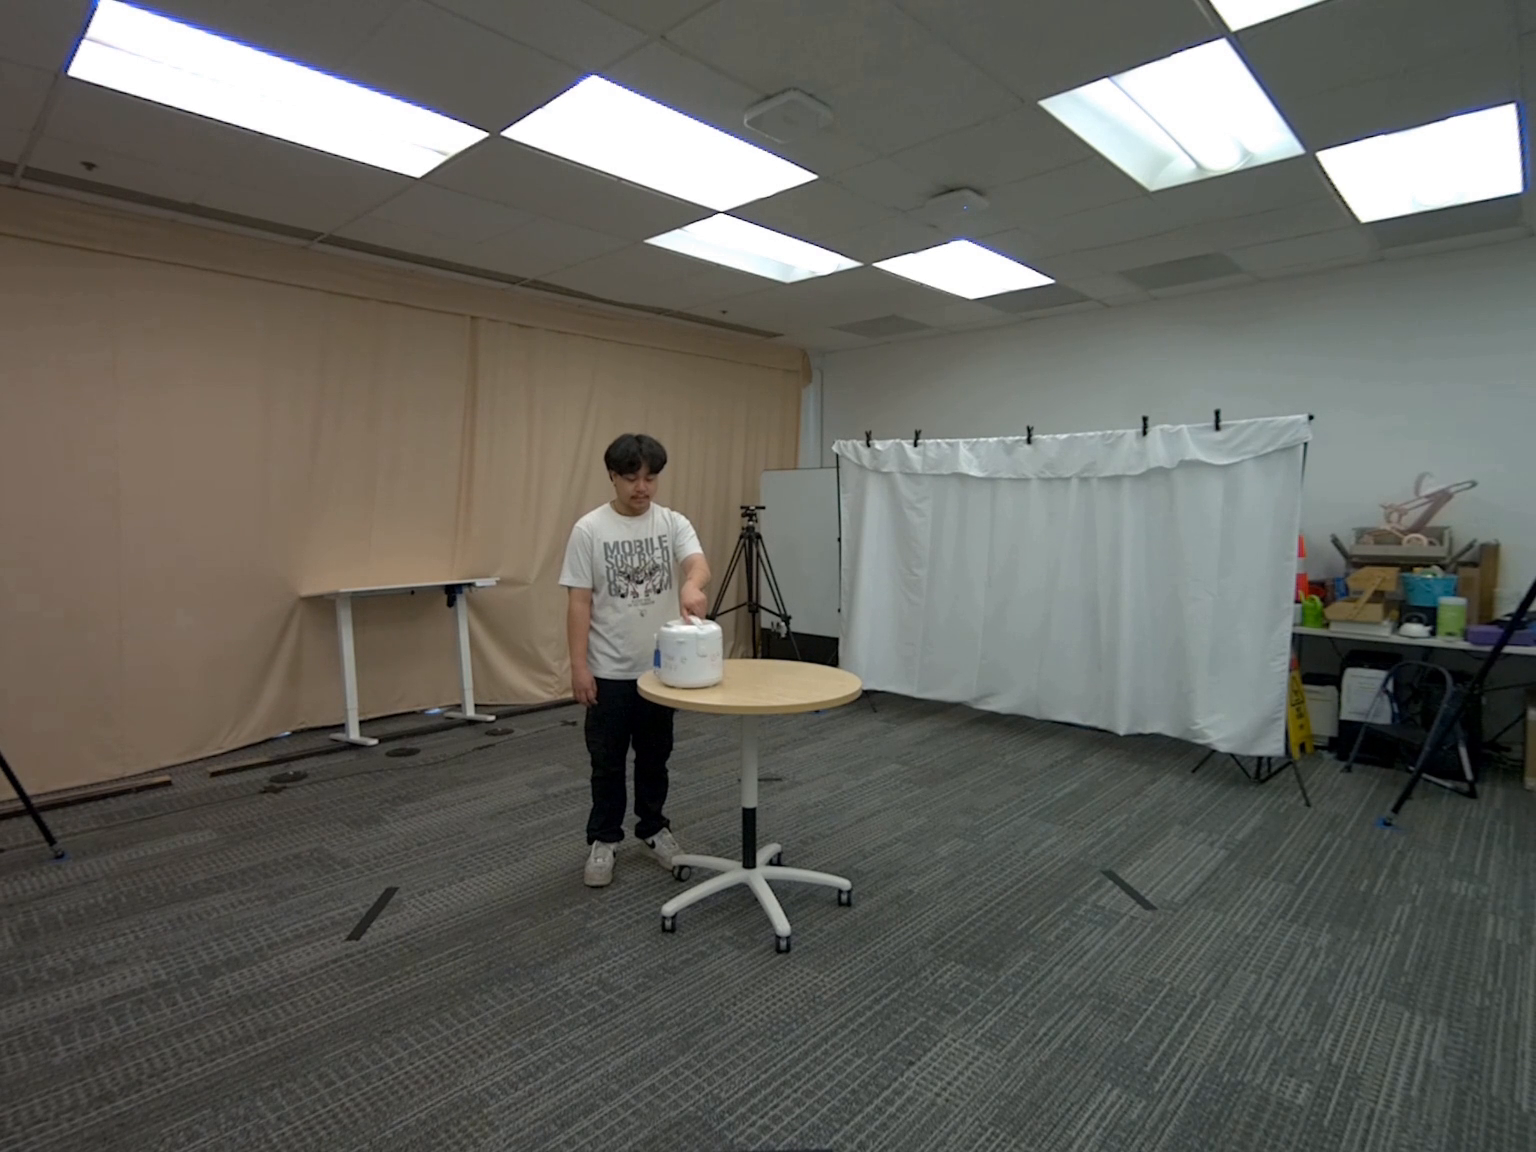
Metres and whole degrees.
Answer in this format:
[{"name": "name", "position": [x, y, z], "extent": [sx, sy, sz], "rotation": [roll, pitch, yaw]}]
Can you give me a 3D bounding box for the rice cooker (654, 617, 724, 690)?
[{"name": "rice cooker", "position": [-0.253, 0.245, 2.814], "extent": [0.212, 0.232, 0.226], "rotation": [-2, 5, -25]}]
